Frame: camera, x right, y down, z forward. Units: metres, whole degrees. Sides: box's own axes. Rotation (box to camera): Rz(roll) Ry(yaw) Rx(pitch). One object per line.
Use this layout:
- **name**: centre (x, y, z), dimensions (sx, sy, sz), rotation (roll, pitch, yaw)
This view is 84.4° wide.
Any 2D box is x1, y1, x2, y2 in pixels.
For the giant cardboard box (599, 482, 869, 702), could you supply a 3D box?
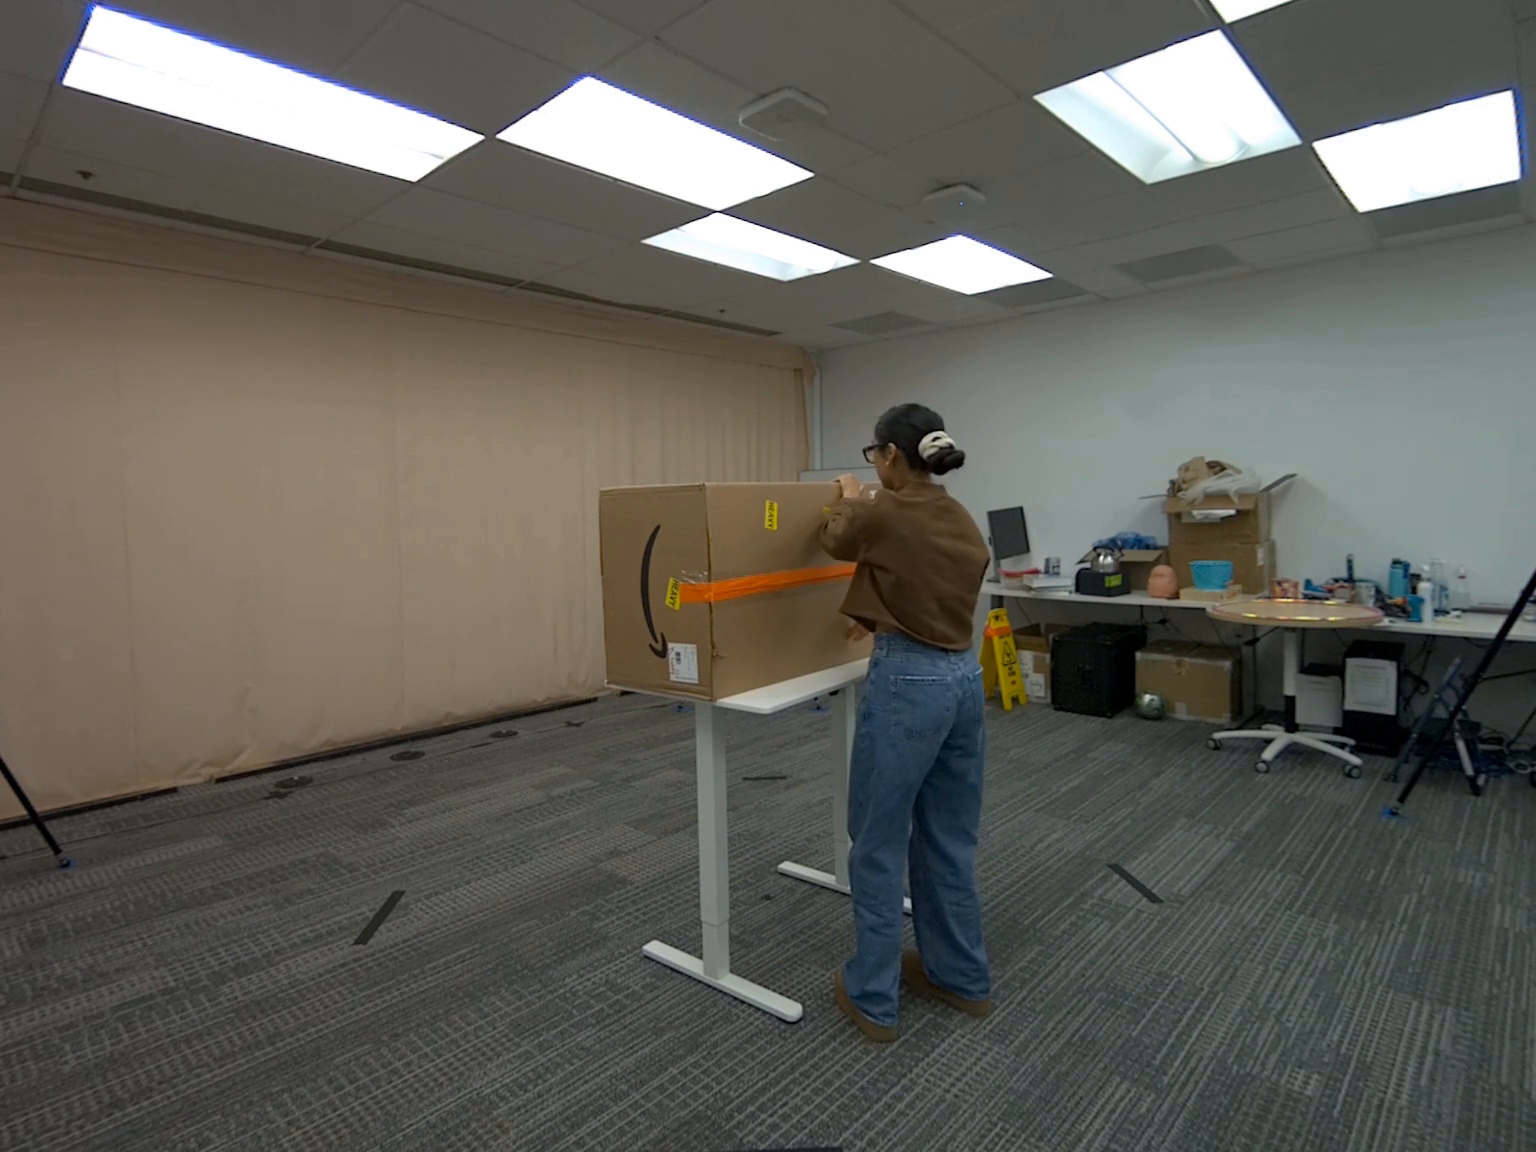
- **giant cardboard box**: centre (0.000, 0.001, 2.700), dimensions (0.440, 0.576, 0.995), rotation (0, 5, 40)
